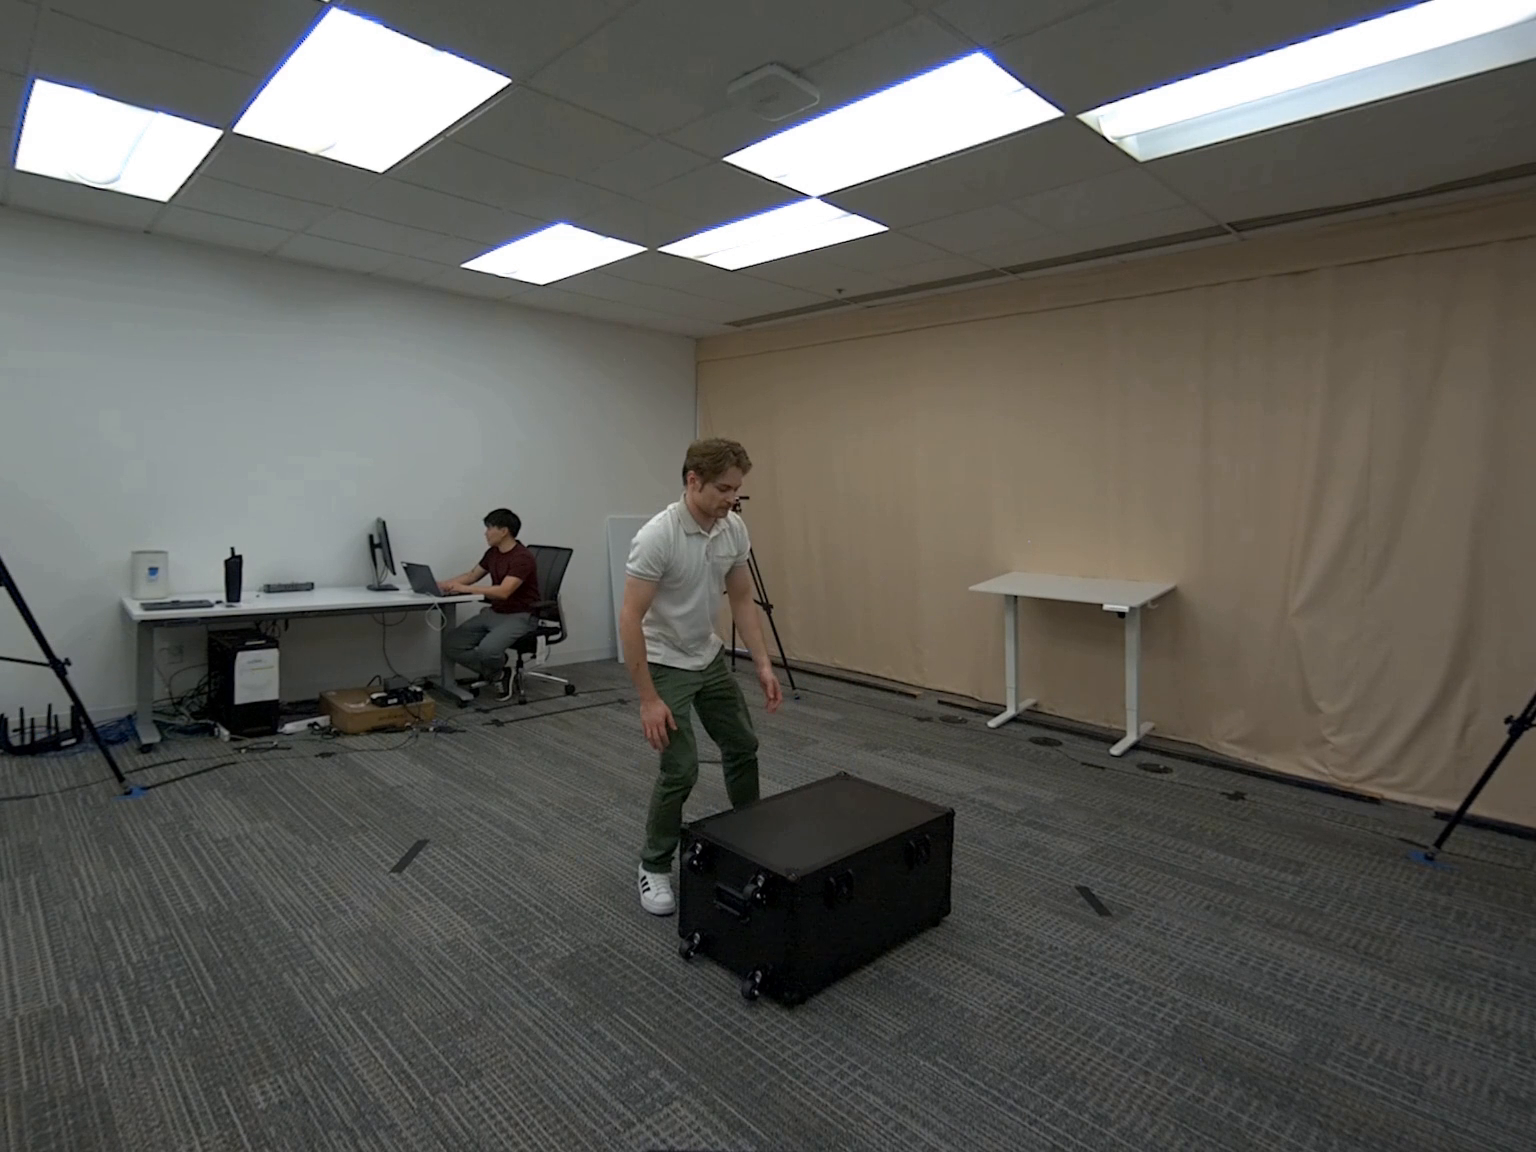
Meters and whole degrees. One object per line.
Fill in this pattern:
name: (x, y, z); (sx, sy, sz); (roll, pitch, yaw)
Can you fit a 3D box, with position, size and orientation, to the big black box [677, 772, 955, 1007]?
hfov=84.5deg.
big black box: (0.132, 0.954, 2.680); (0.849, 0.384, 0.537); (-4, 9, -44)
